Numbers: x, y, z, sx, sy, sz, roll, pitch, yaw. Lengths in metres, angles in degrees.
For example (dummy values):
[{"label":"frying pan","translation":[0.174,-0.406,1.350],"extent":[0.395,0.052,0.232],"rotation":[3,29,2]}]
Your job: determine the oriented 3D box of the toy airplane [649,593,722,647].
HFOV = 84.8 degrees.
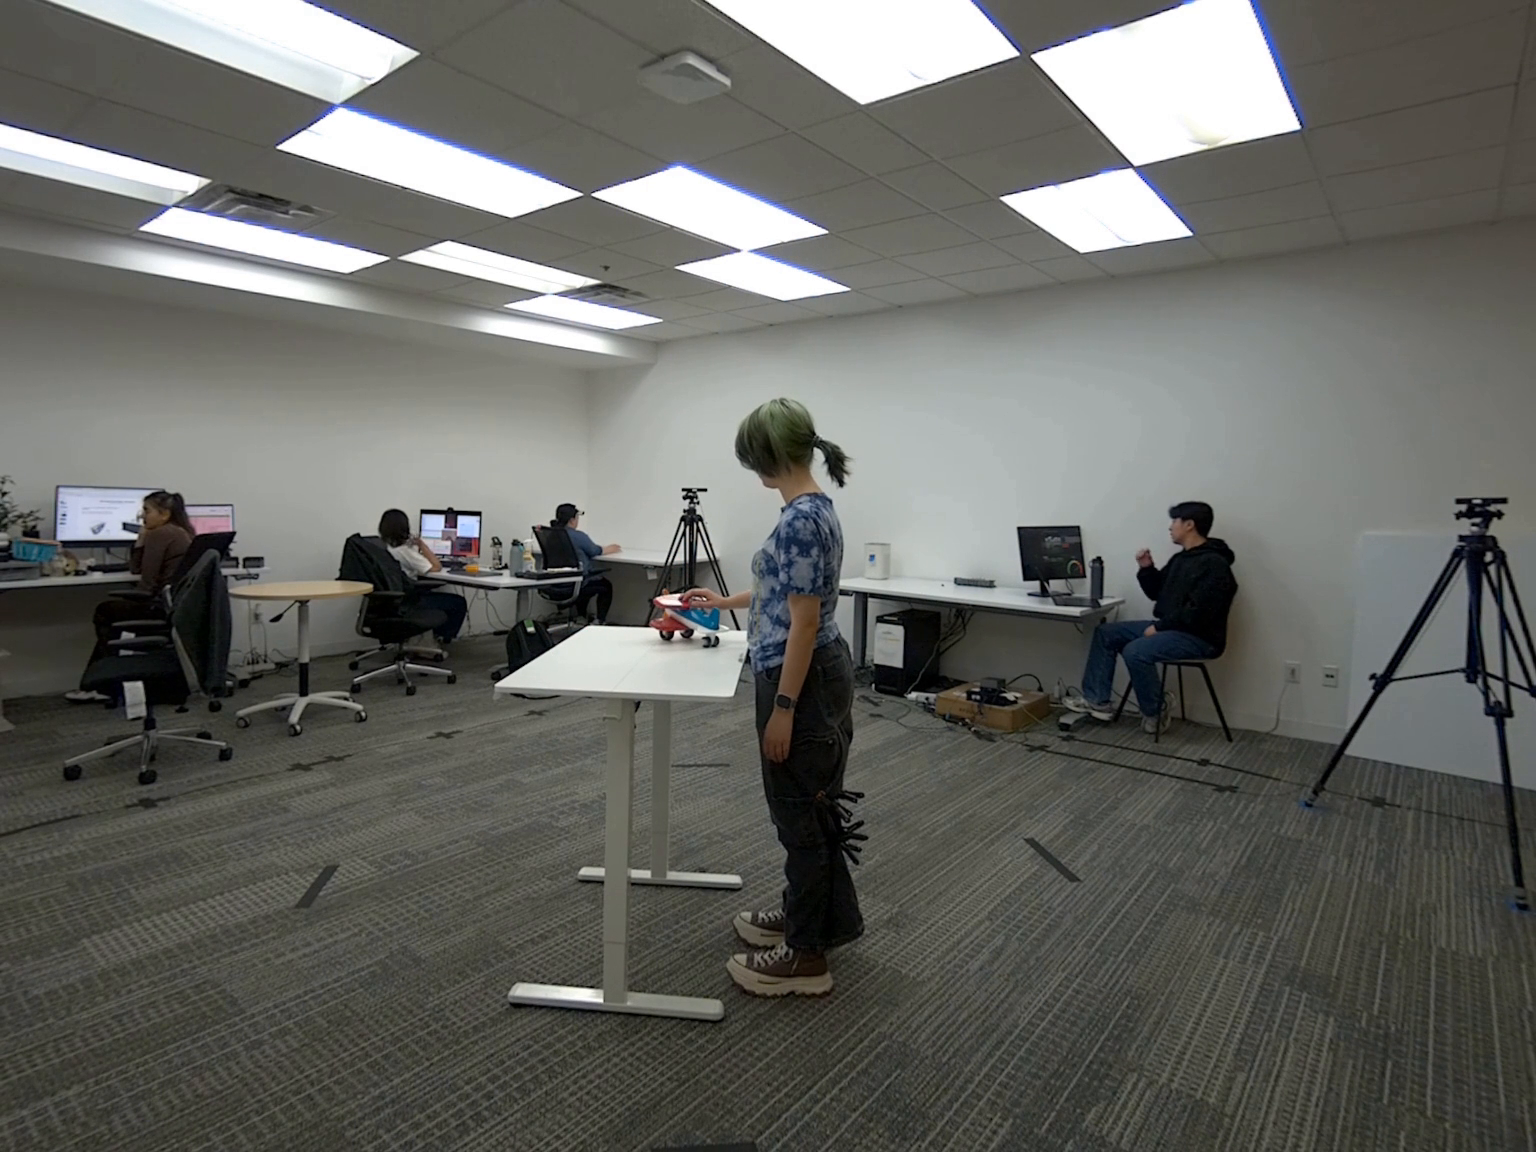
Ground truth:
[{"label":"toy airplane","translation":[-0.245,0.141,2.821],"extent":[0.265,0.156,0.246],"rotation":[3,4,22]}]
